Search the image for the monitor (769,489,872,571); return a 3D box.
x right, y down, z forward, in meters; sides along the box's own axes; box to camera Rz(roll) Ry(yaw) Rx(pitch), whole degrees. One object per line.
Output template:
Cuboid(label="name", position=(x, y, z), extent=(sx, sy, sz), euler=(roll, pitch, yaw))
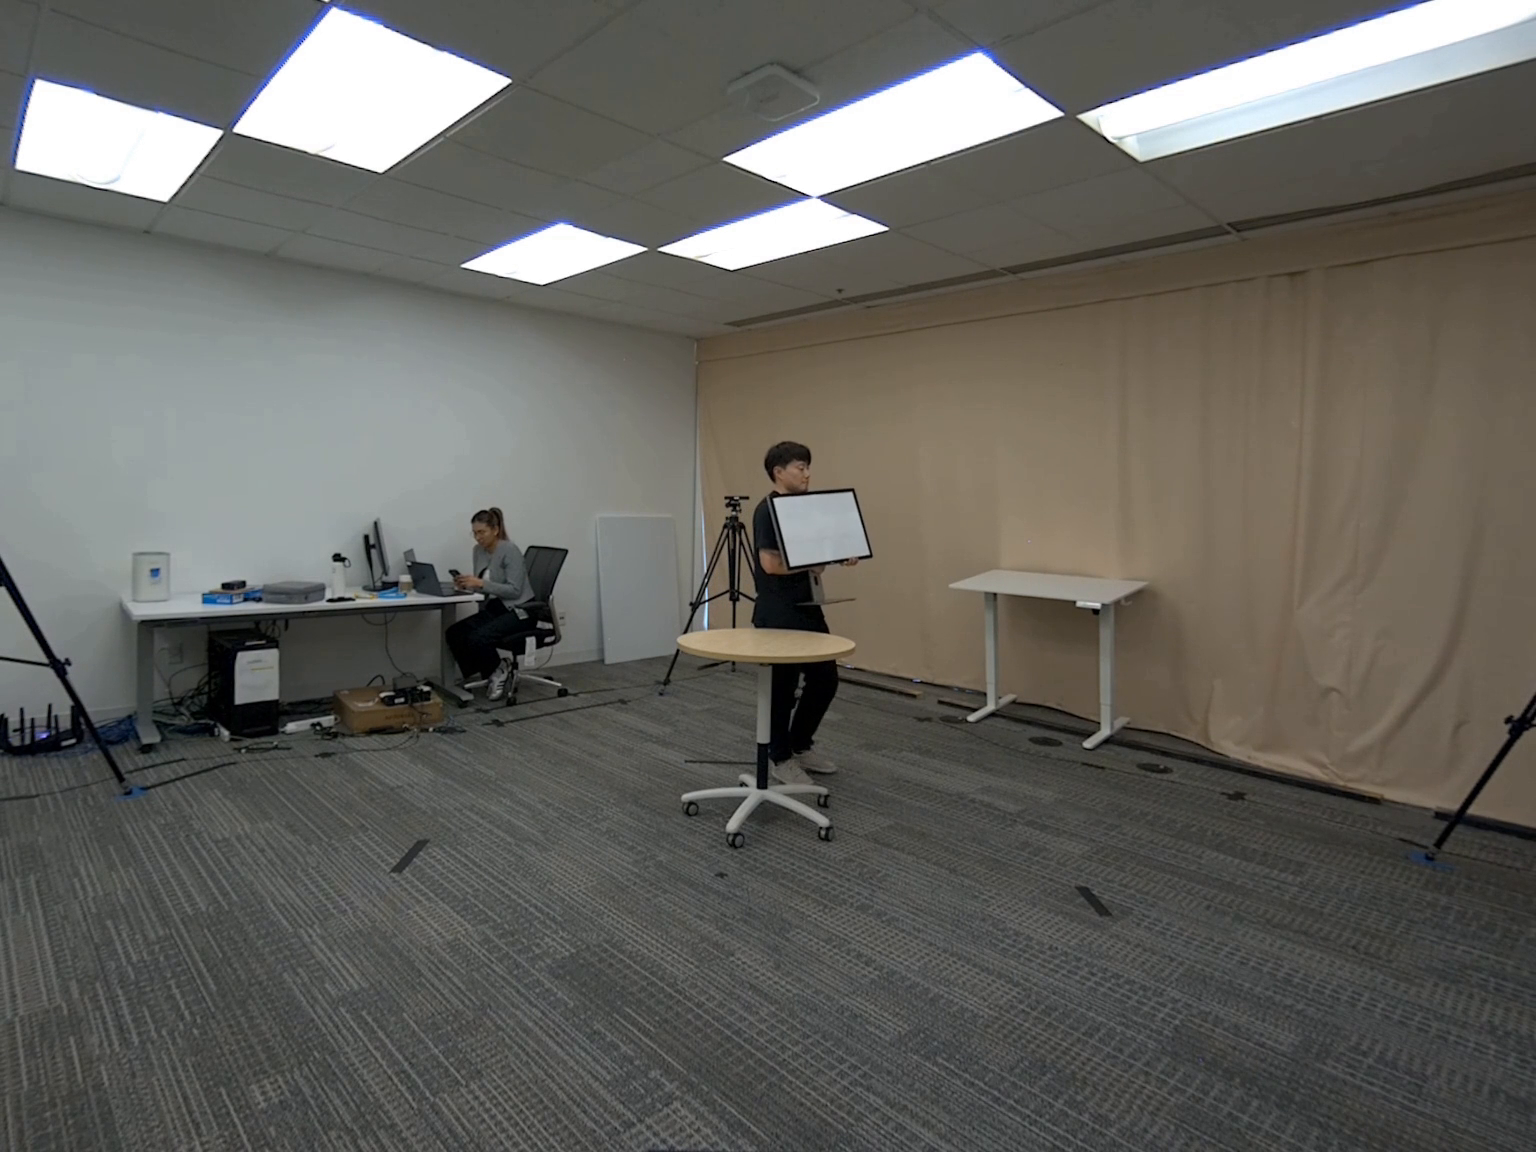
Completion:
Cuboid(label="monitor", position=(0.241, -0.142, 4.053), extent=(0.528, 0.522, 0.191), euler=(-8, 2, -39))
